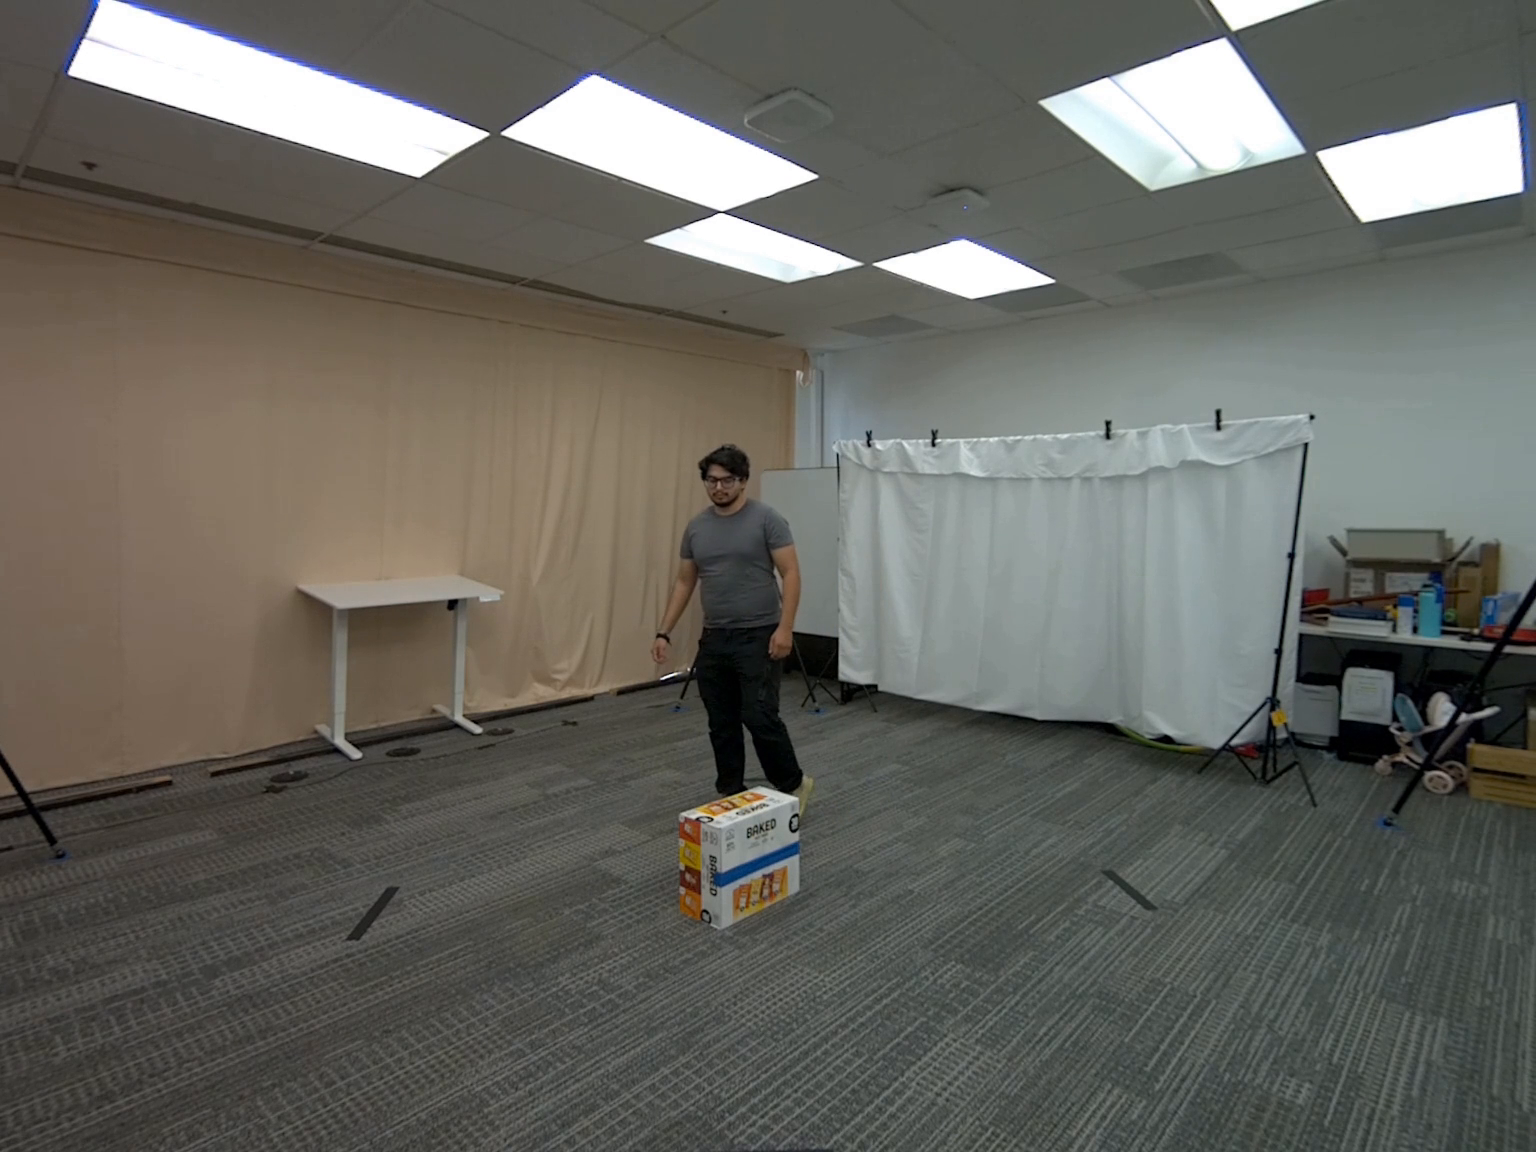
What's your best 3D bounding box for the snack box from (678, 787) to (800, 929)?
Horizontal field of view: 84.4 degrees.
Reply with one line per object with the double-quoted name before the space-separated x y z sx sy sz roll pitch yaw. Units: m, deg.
"snack box" -0.096 0.971 2.965 0.212 0.339 0.393 3 5 44
